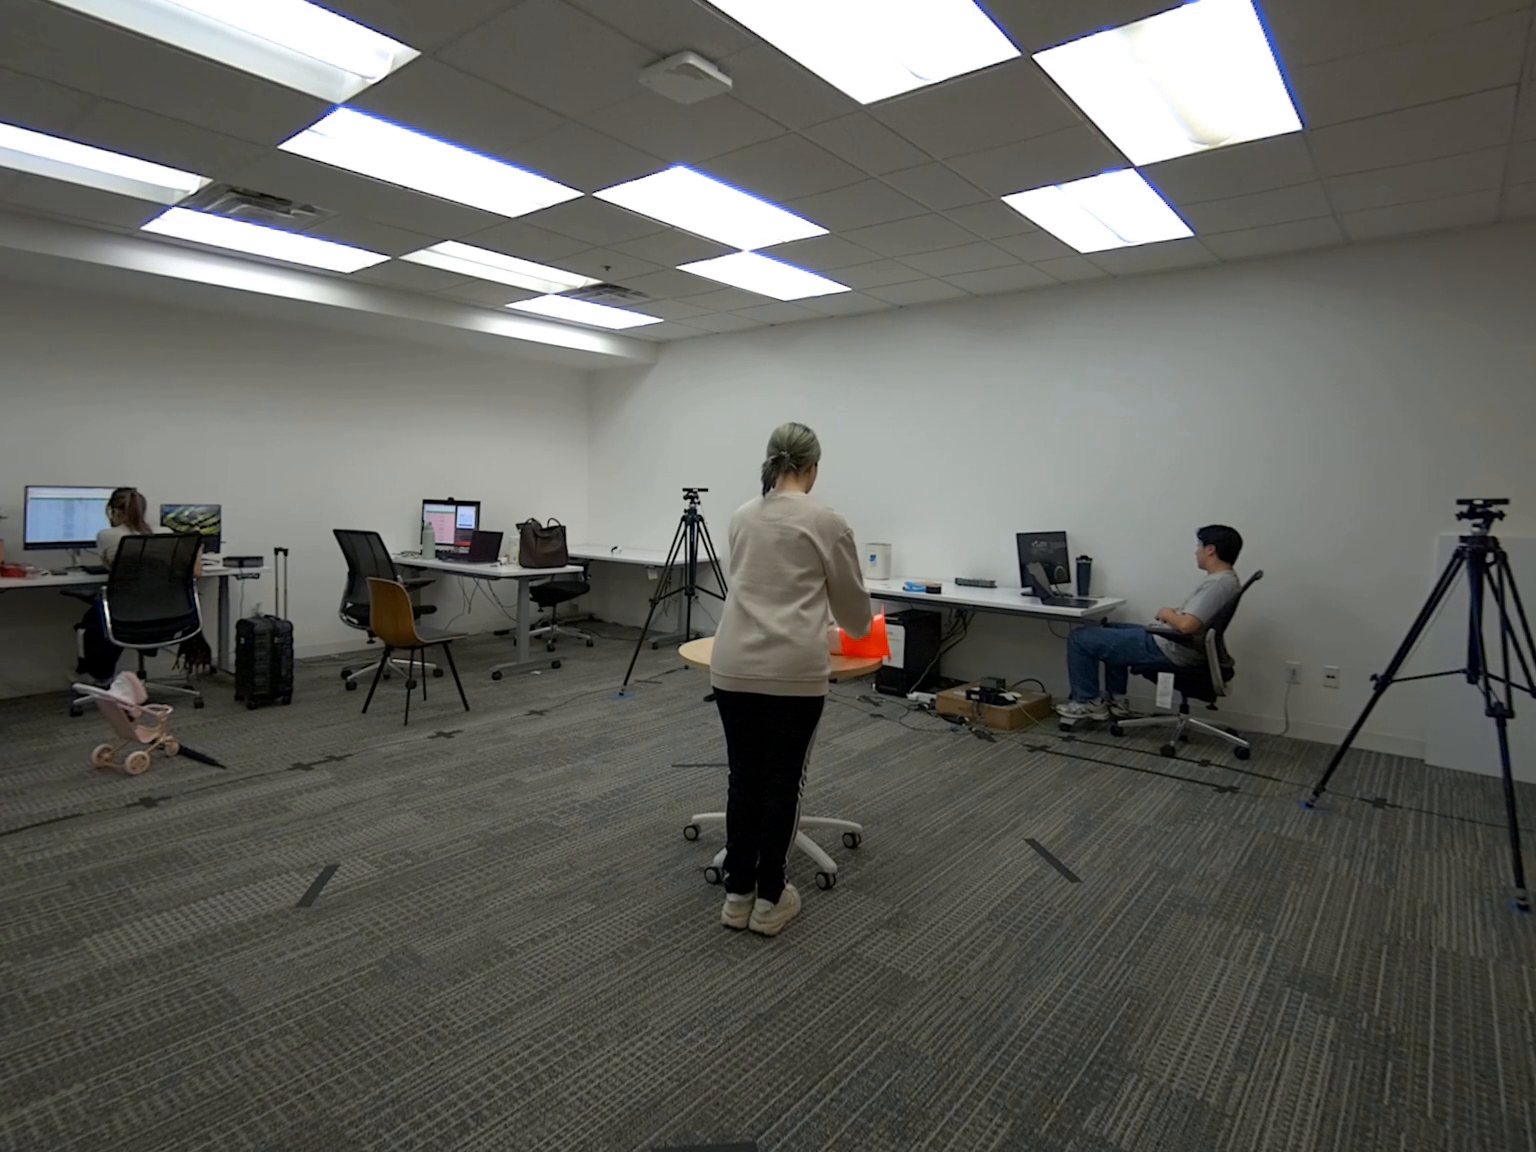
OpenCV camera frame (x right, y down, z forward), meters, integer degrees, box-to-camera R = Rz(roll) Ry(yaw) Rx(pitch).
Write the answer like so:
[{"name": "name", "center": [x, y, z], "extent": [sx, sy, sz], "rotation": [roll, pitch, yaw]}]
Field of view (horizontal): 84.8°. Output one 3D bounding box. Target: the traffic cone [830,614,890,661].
[{"name": "traffic cone", "center": [0.239, 0.246, 3.171], "extent": [0.386, 0.206, 0.201], "rotation": [-10, -11, 7]}]
